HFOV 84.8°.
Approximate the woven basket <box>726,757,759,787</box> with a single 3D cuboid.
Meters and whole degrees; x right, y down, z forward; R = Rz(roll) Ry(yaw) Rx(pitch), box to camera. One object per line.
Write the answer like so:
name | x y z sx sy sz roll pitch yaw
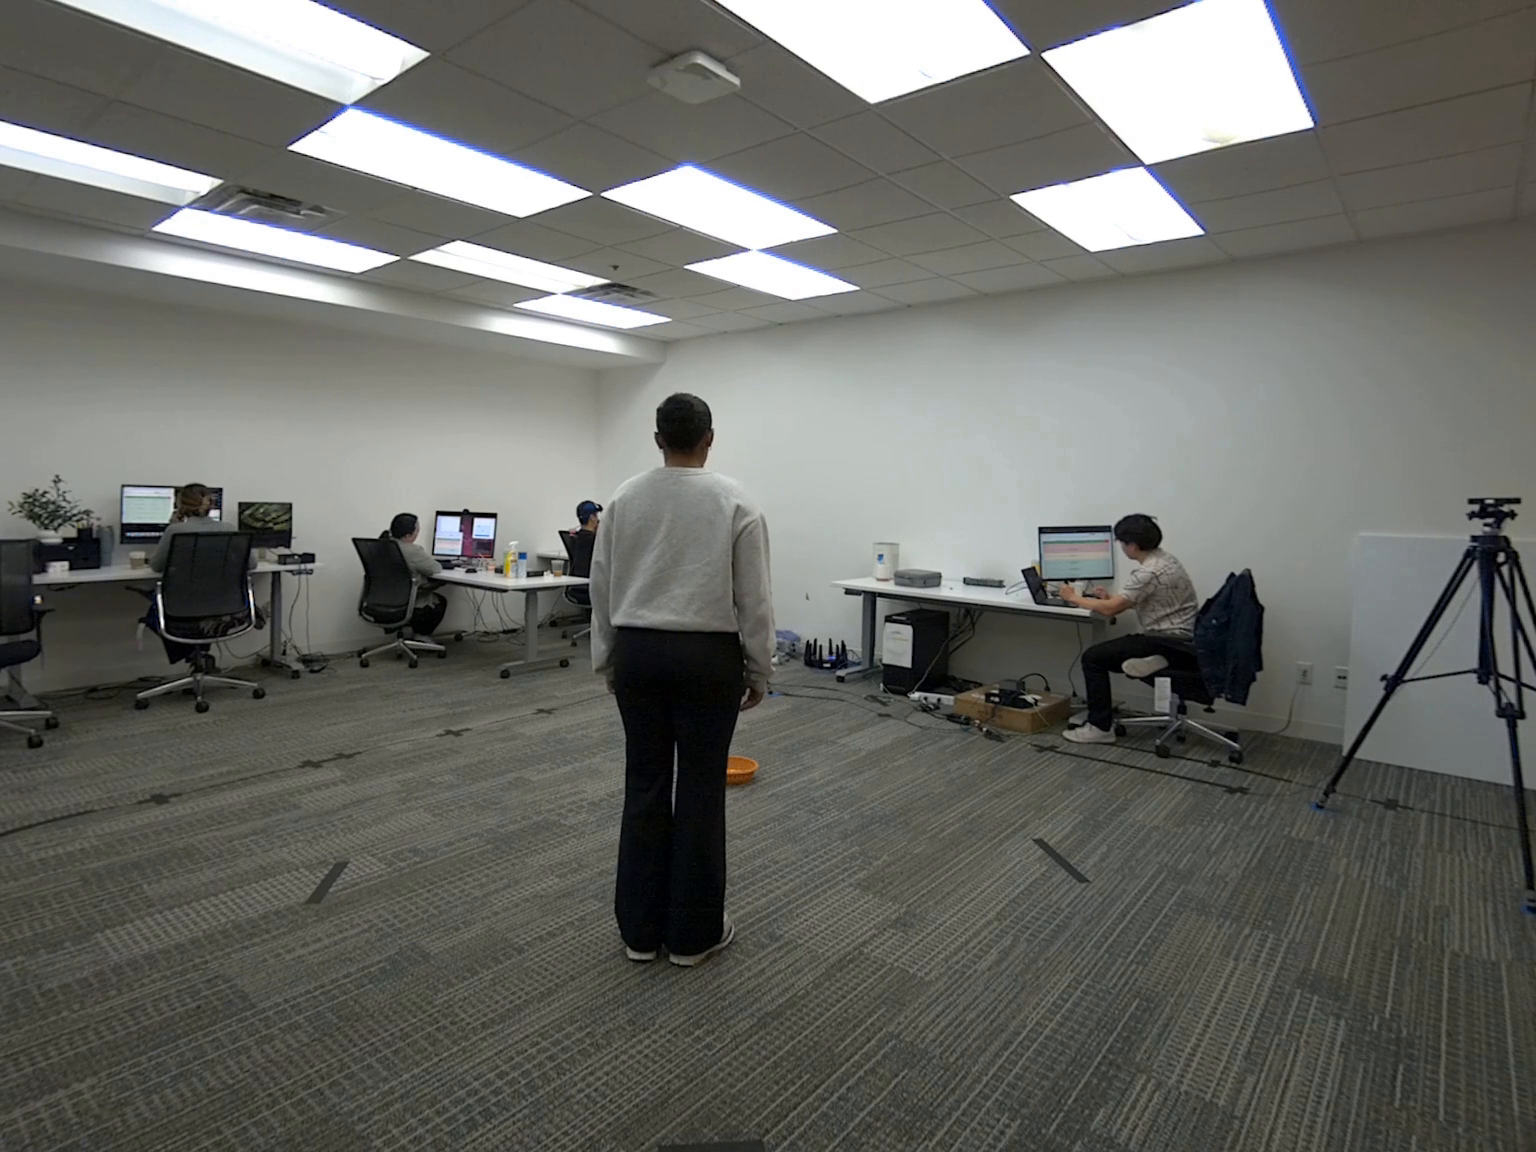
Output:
woven basket | -0.230 0.934 4.085 0.347 0.073 0.256 0 6 -10
